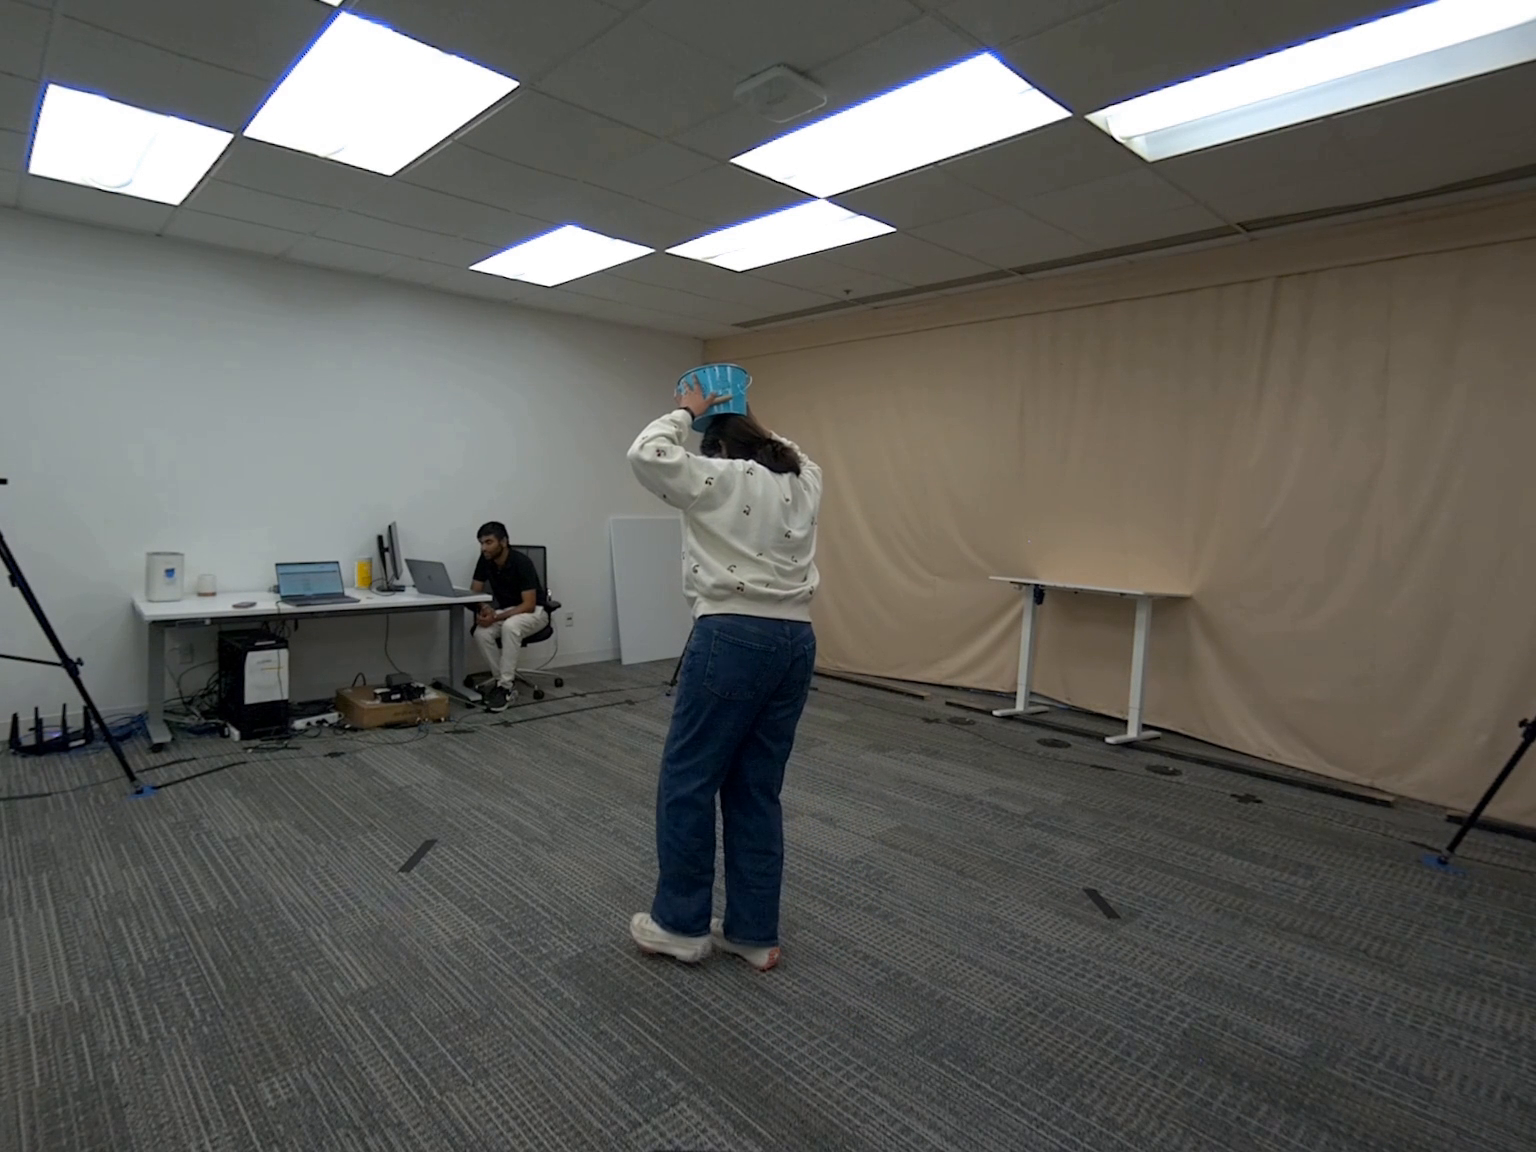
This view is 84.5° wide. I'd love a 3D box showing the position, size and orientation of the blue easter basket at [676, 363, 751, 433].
[{"bbox_3d":[-0.181,-0.566,2.713,0.243,0.157,0.241,-8,-11,-3],"label":"blue easter basket"}]
